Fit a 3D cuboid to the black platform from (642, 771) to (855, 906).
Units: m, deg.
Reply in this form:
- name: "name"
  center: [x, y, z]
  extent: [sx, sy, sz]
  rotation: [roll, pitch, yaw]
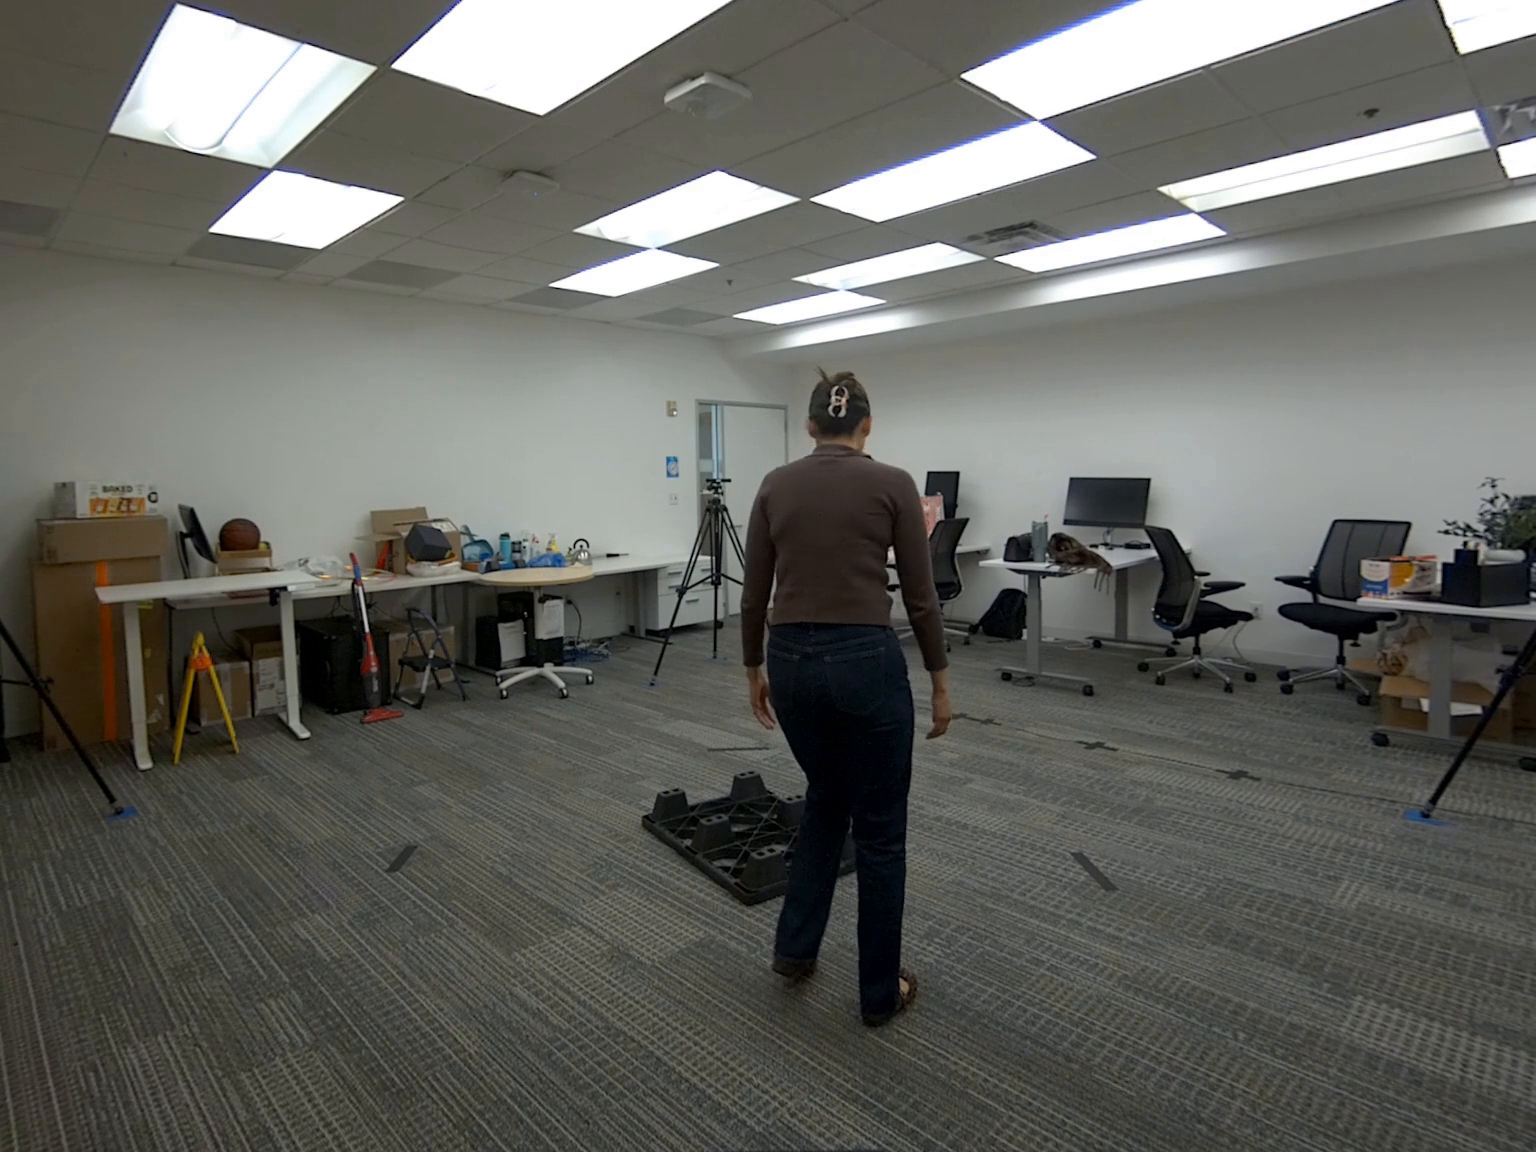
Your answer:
- name: "black platform"
  center: [-0.052, 0.956, 3.278]
  extent: [0.590, 0.143, 0.829]
  rotation: [-5, 7, -33]
